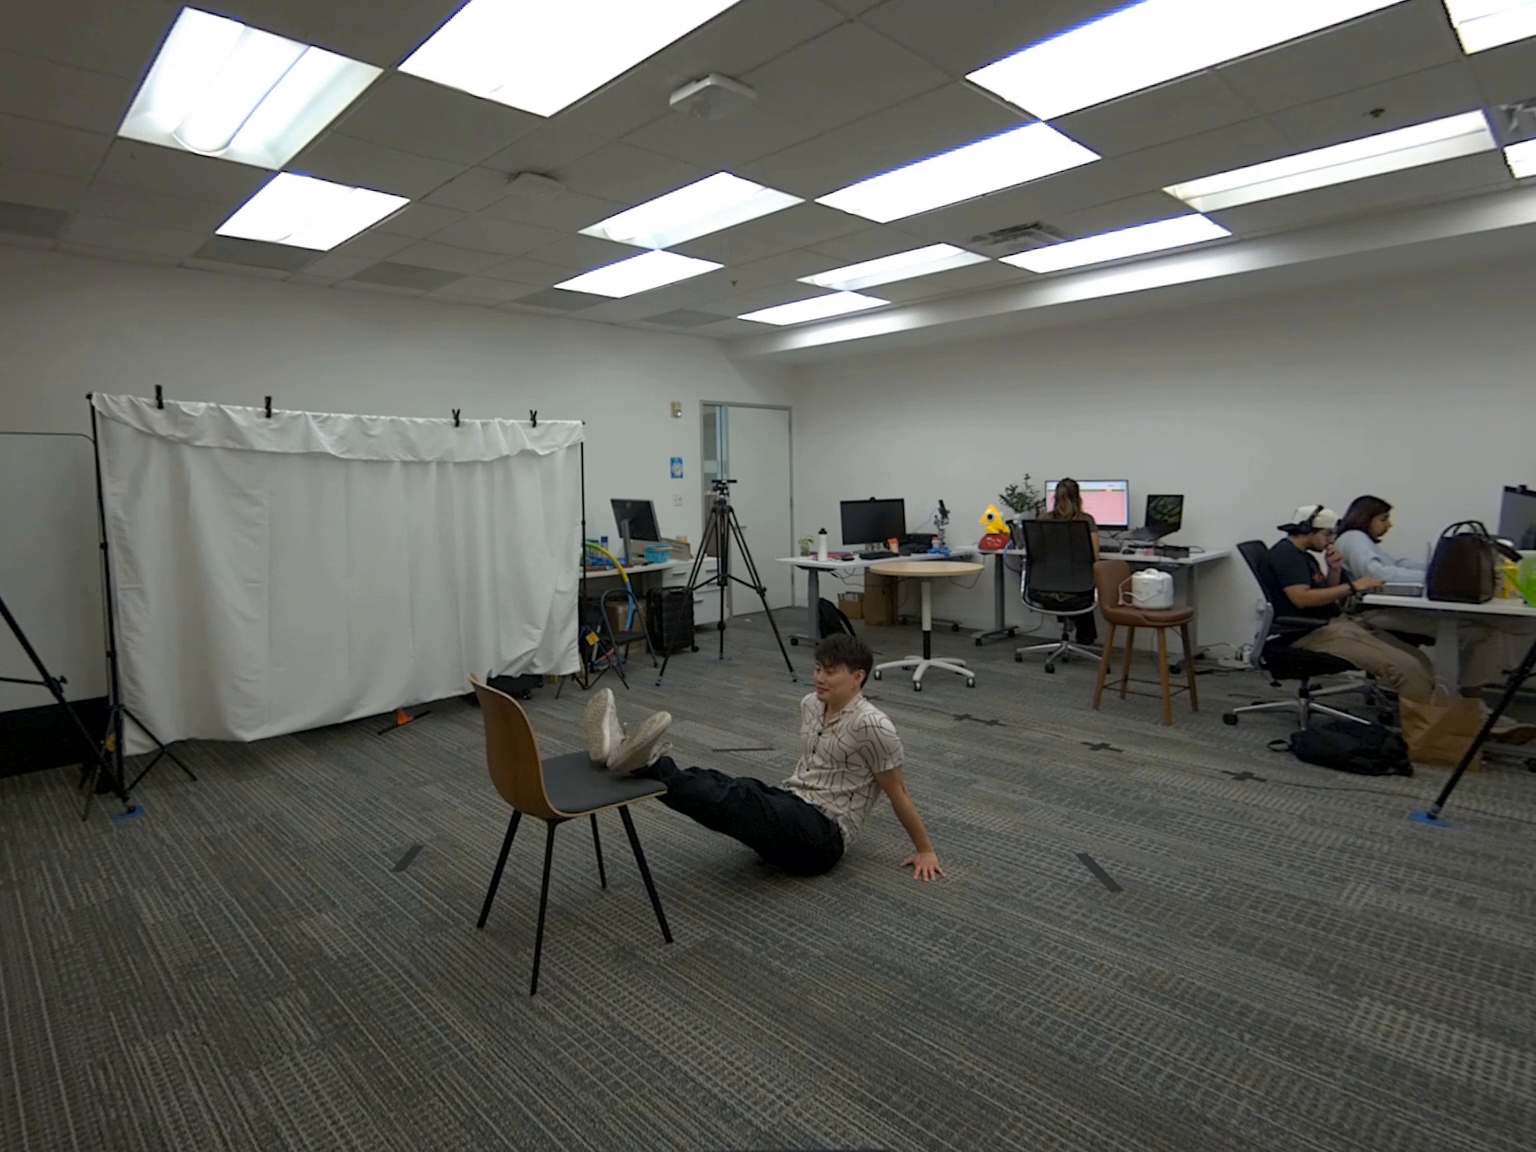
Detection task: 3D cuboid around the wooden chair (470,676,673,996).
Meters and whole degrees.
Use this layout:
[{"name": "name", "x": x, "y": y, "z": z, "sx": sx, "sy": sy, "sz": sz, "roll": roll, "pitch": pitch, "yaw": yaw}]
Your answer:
[{"name": "wooden chair", "x": -0.601, "y": 0.686, "z": 2.618, "sx": 0.511, "sy": 0.872, "sz": 0.492, "roll": -10, "pitch": 8, "yaw": -36}]
